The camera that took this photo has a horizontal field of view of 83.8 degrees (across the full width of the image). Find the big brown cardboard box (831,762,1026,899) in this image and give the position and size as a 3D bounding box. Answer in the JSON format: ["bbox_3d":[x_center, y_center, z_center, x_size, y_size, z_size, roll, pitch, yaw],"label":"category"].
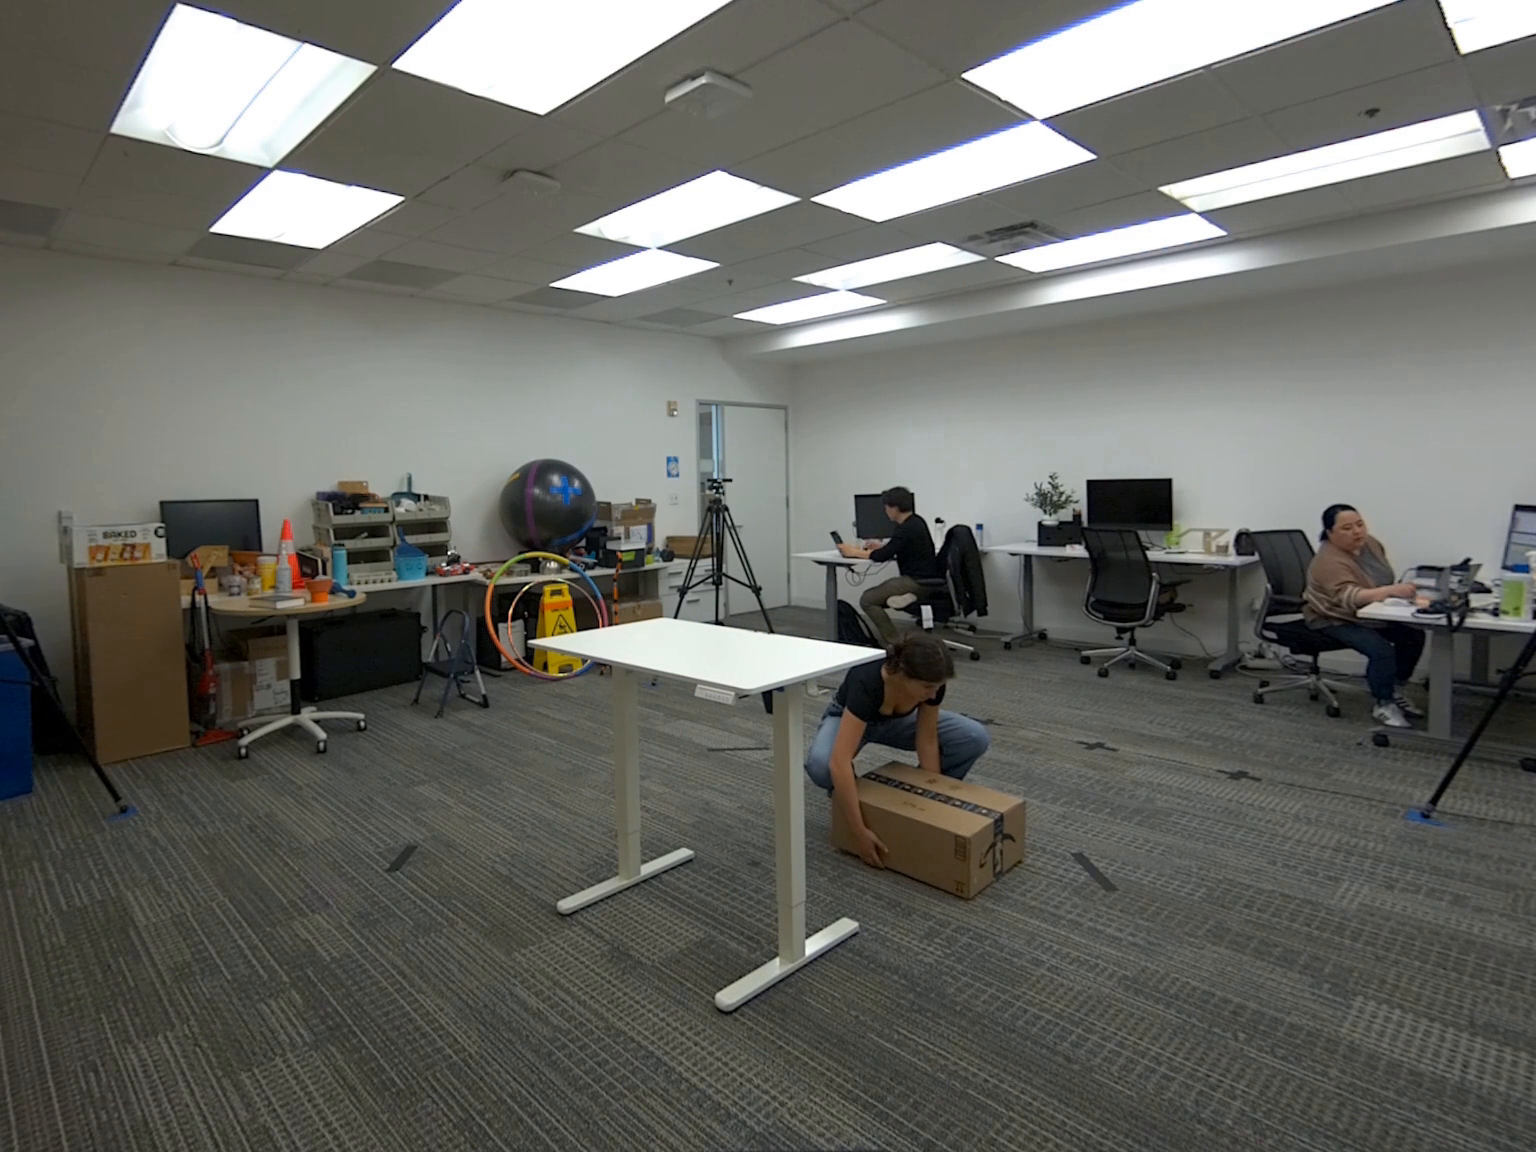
[{"bbox_3d":[0.589,0.913,3.131,0.608,0.232,0.407,7,11,44],"label":"big brown cardboard box"}]
